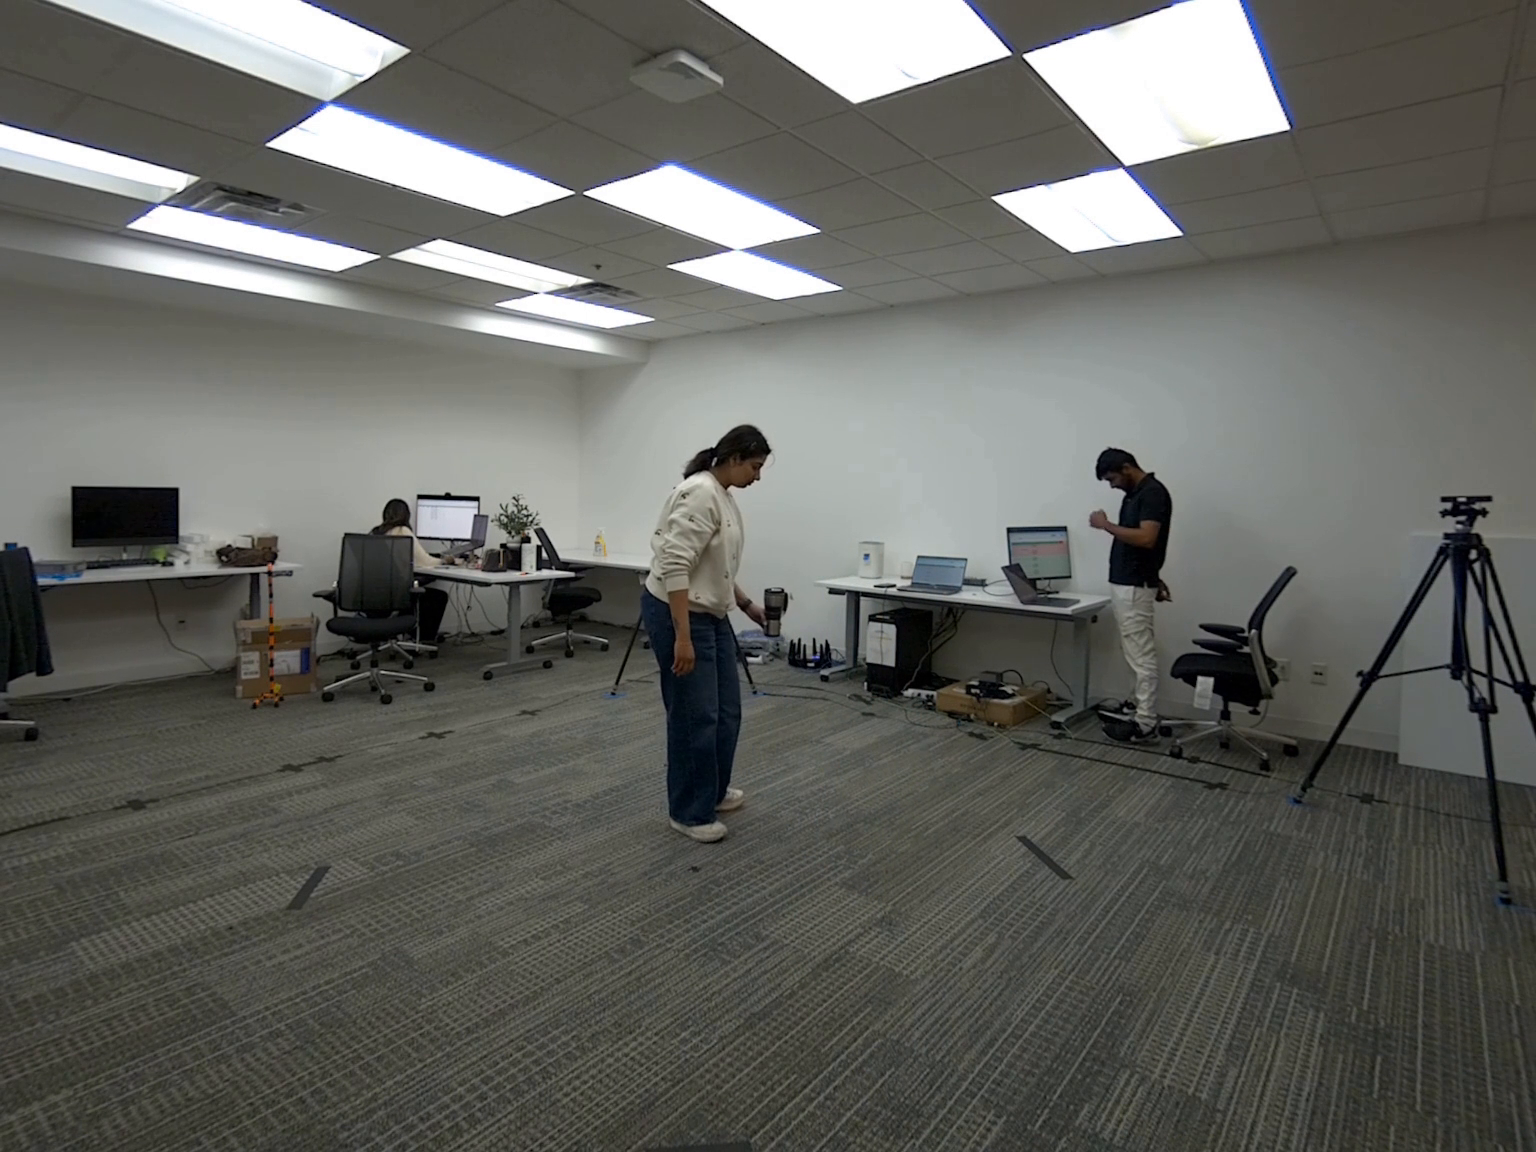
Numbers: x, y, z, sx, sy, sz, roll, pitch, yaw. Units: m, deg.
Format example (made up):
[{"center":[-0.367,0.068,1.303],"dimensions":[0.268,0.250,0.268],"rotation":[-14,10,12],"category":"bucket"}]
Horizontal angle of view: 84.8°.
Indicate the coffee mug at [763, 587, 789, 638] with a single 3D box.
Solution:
[{"center":[0.032,0.157,3.627],"dimensions":[0.119,0.202,0.090],"rotation":[-4,5,-23],"category":"coffee mug"}]
